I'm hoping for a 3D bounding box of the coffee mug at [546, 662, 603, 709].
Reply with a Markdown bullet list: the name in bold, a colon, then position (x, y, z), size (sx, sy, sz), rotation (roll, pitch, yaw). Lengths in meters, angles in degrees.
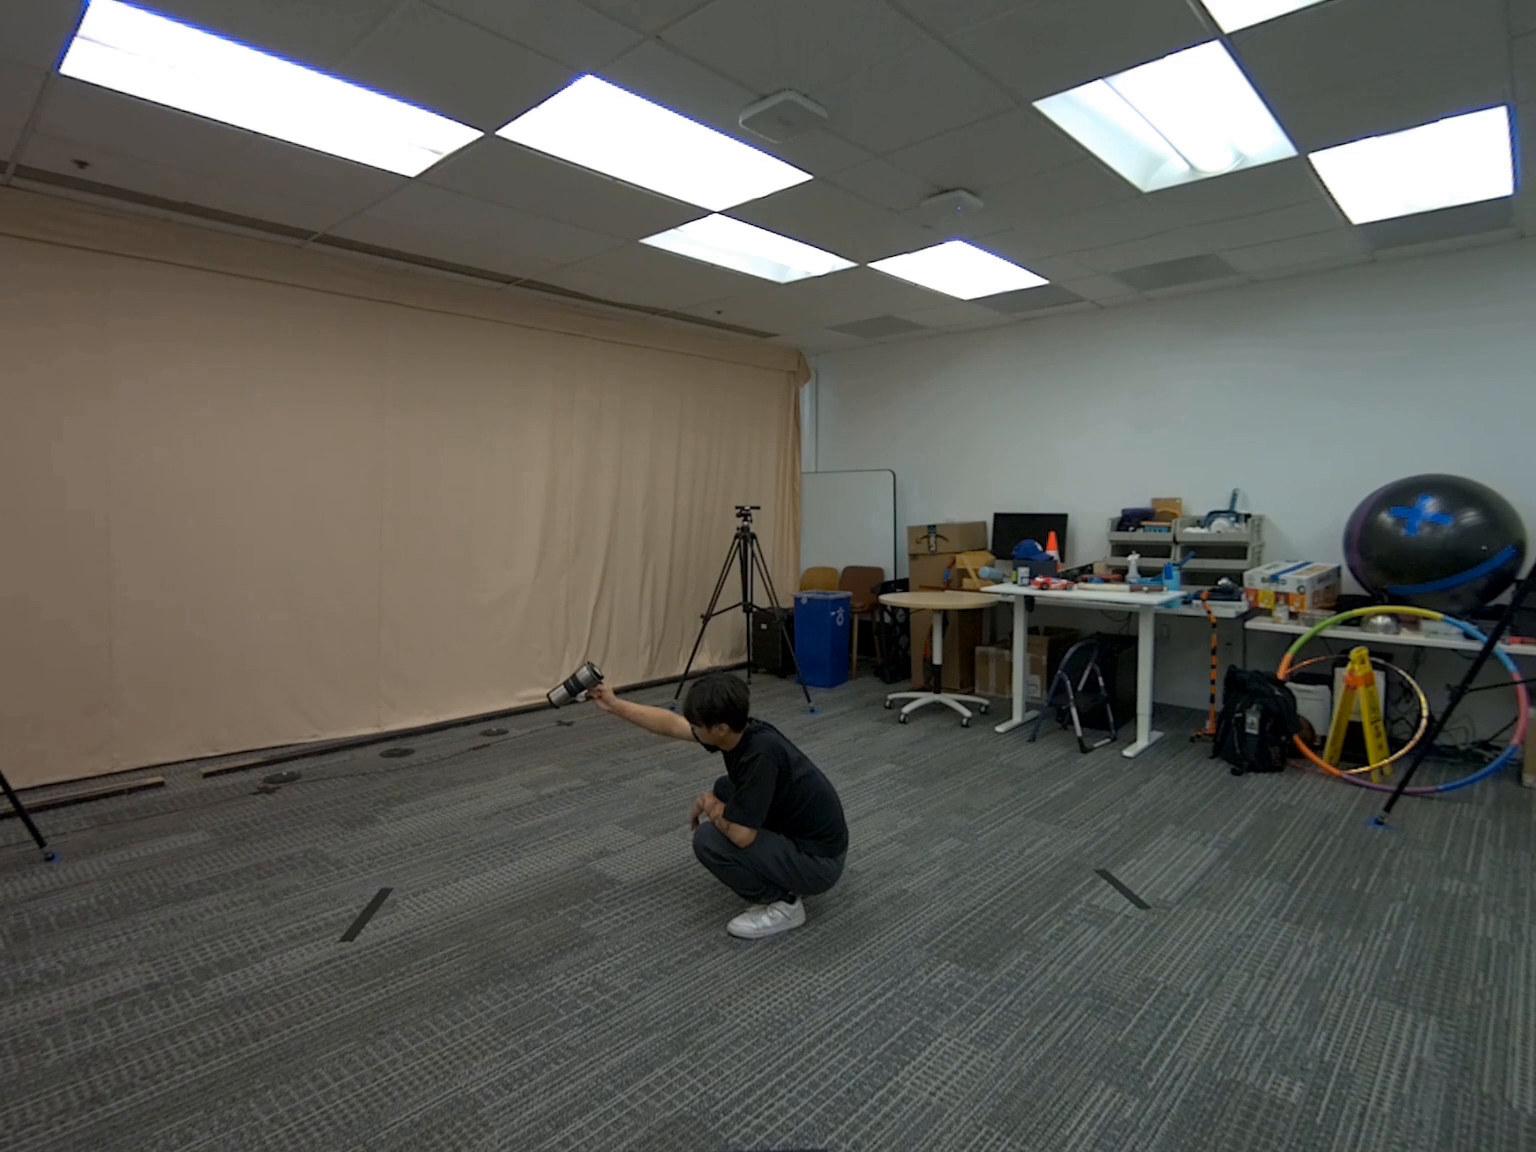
- **coffee mug**: position (-0.693, 0.430, 3.050), size (0.202, 0.123, 0.087), rotation (-40, -8, -5)
